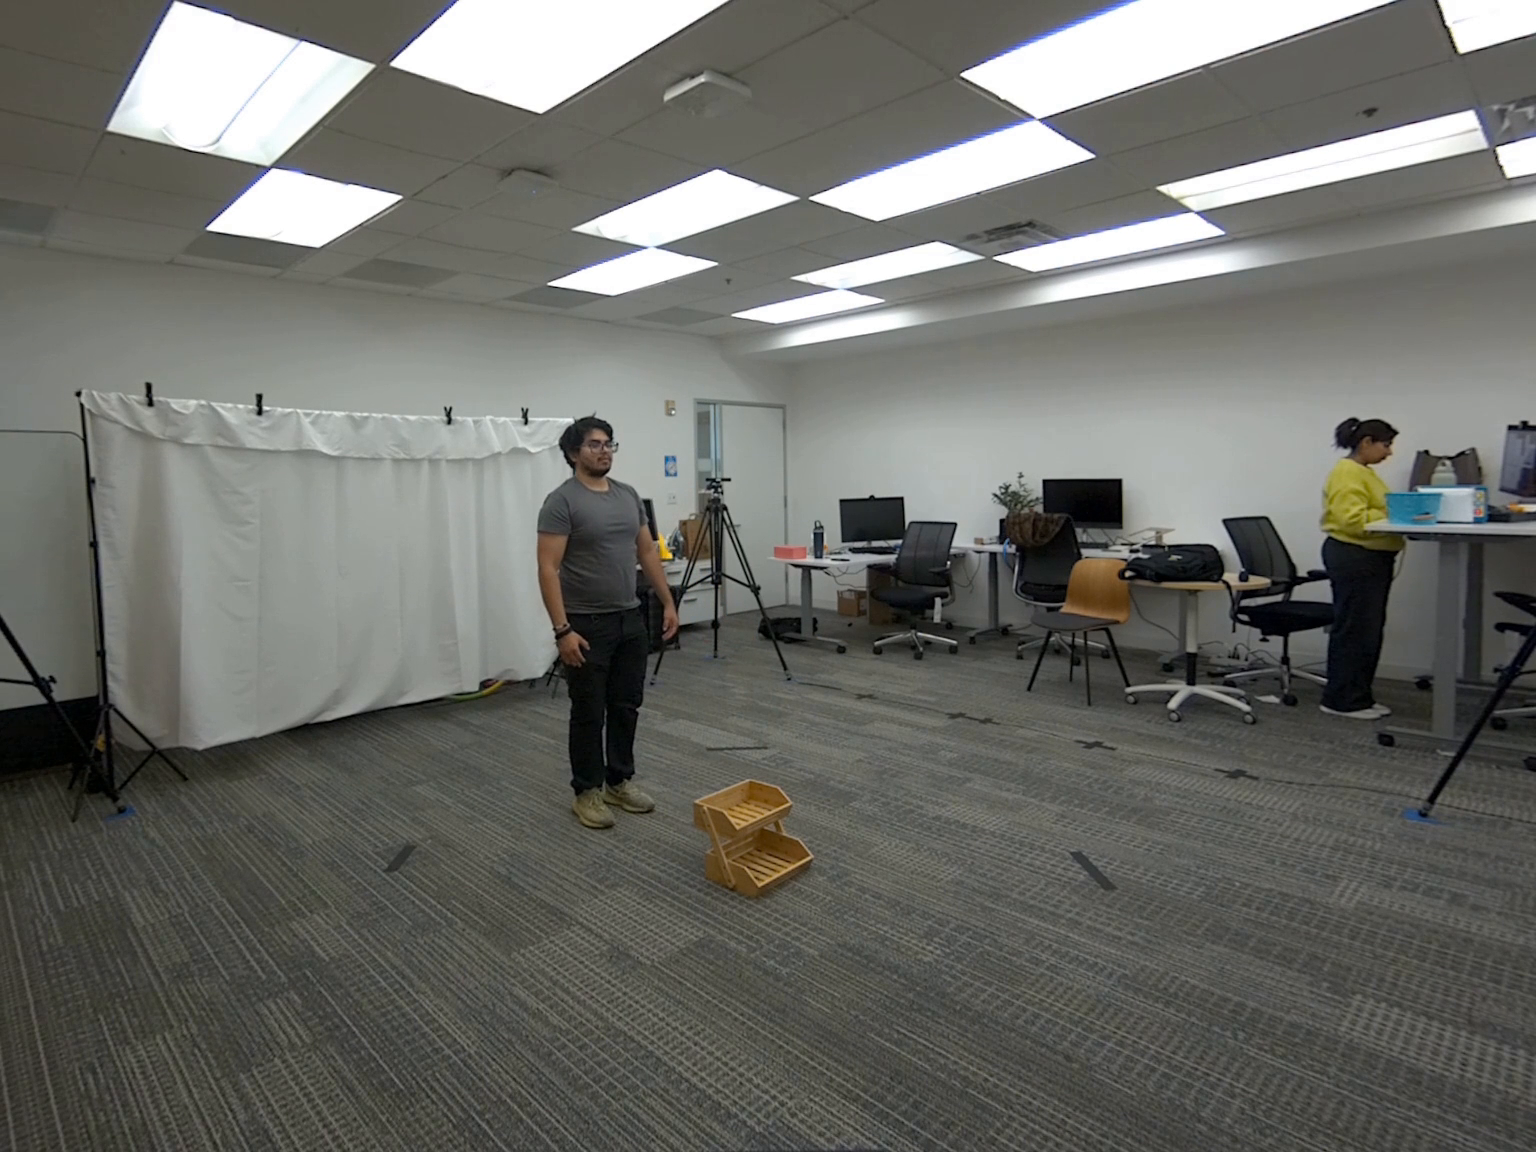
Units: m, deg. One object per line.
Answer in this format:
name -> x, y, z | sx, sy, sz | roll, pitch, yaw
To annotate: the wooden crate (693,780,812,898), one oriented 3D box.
wooden crate -> -0.045, 0.918, 3.030 | 0.311, 0.272, 0.316 | 3, 7, 42
